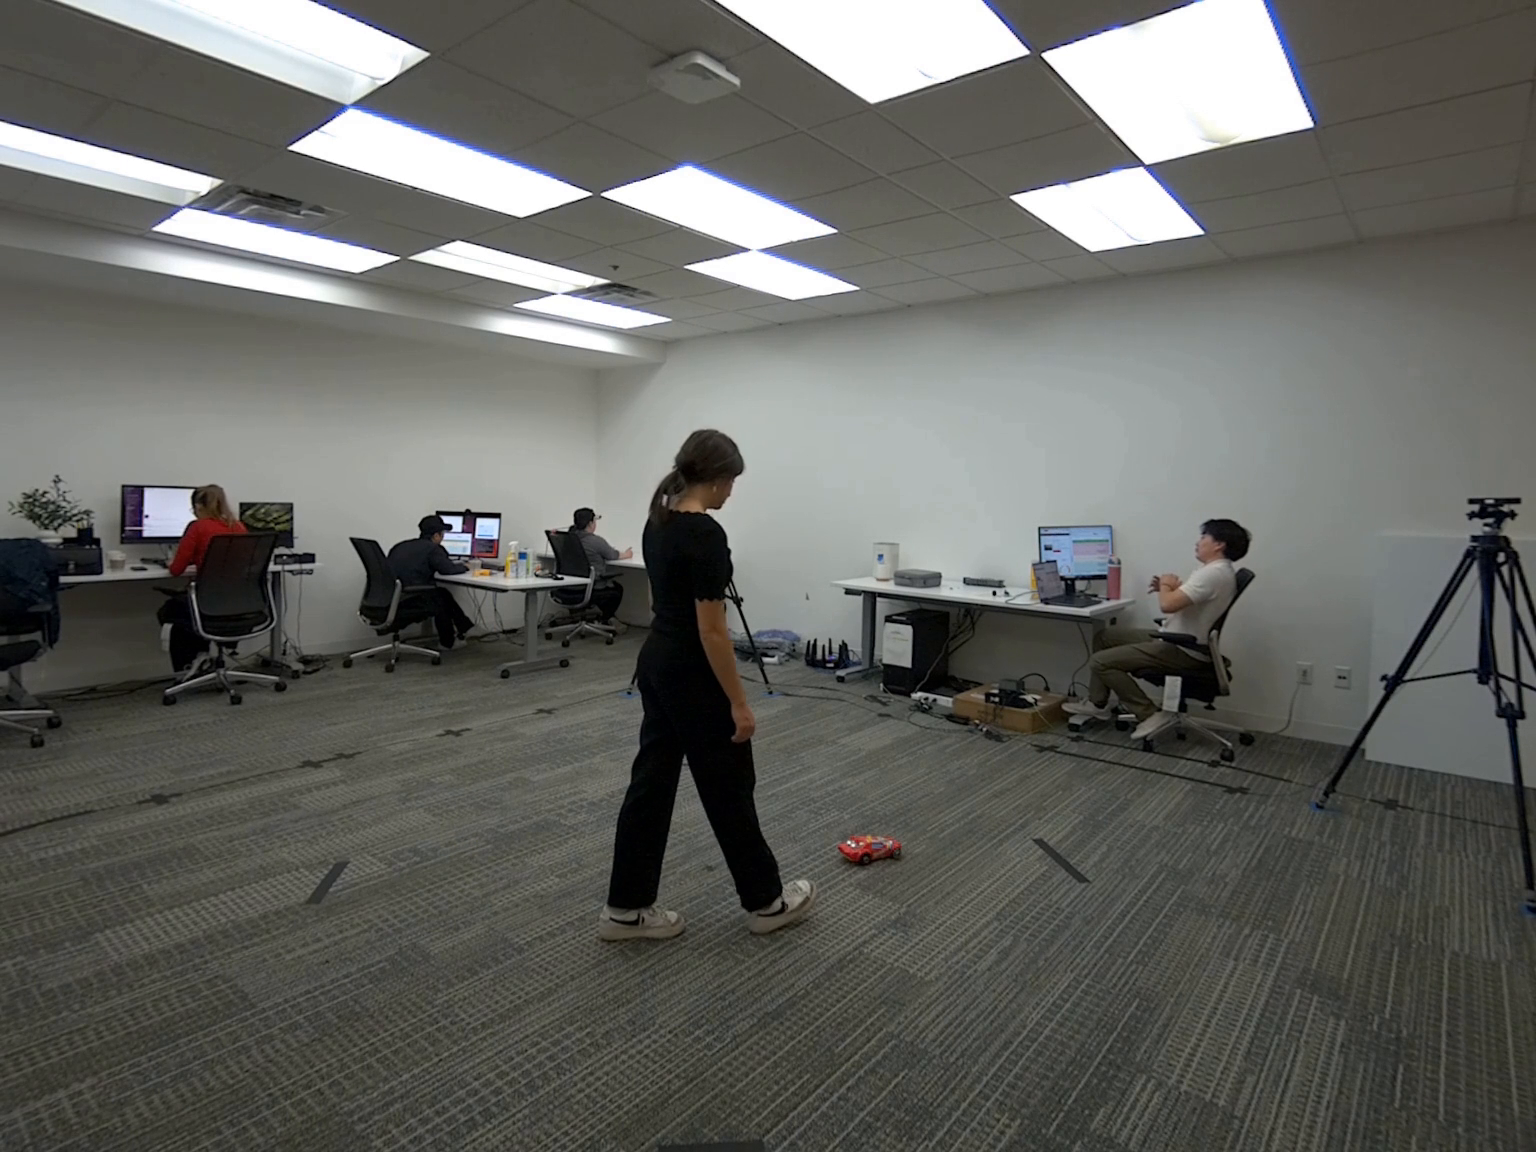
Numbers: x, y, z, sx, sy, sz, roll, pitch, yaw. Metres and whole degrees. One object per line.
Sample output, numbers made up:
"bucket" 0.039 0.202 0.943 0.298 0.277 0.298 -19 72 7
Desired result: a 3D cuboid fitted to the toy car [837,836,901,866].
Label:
"toy car" 0.377 1.037 3.231 0.247 0.083 0.134 9 1 -26
